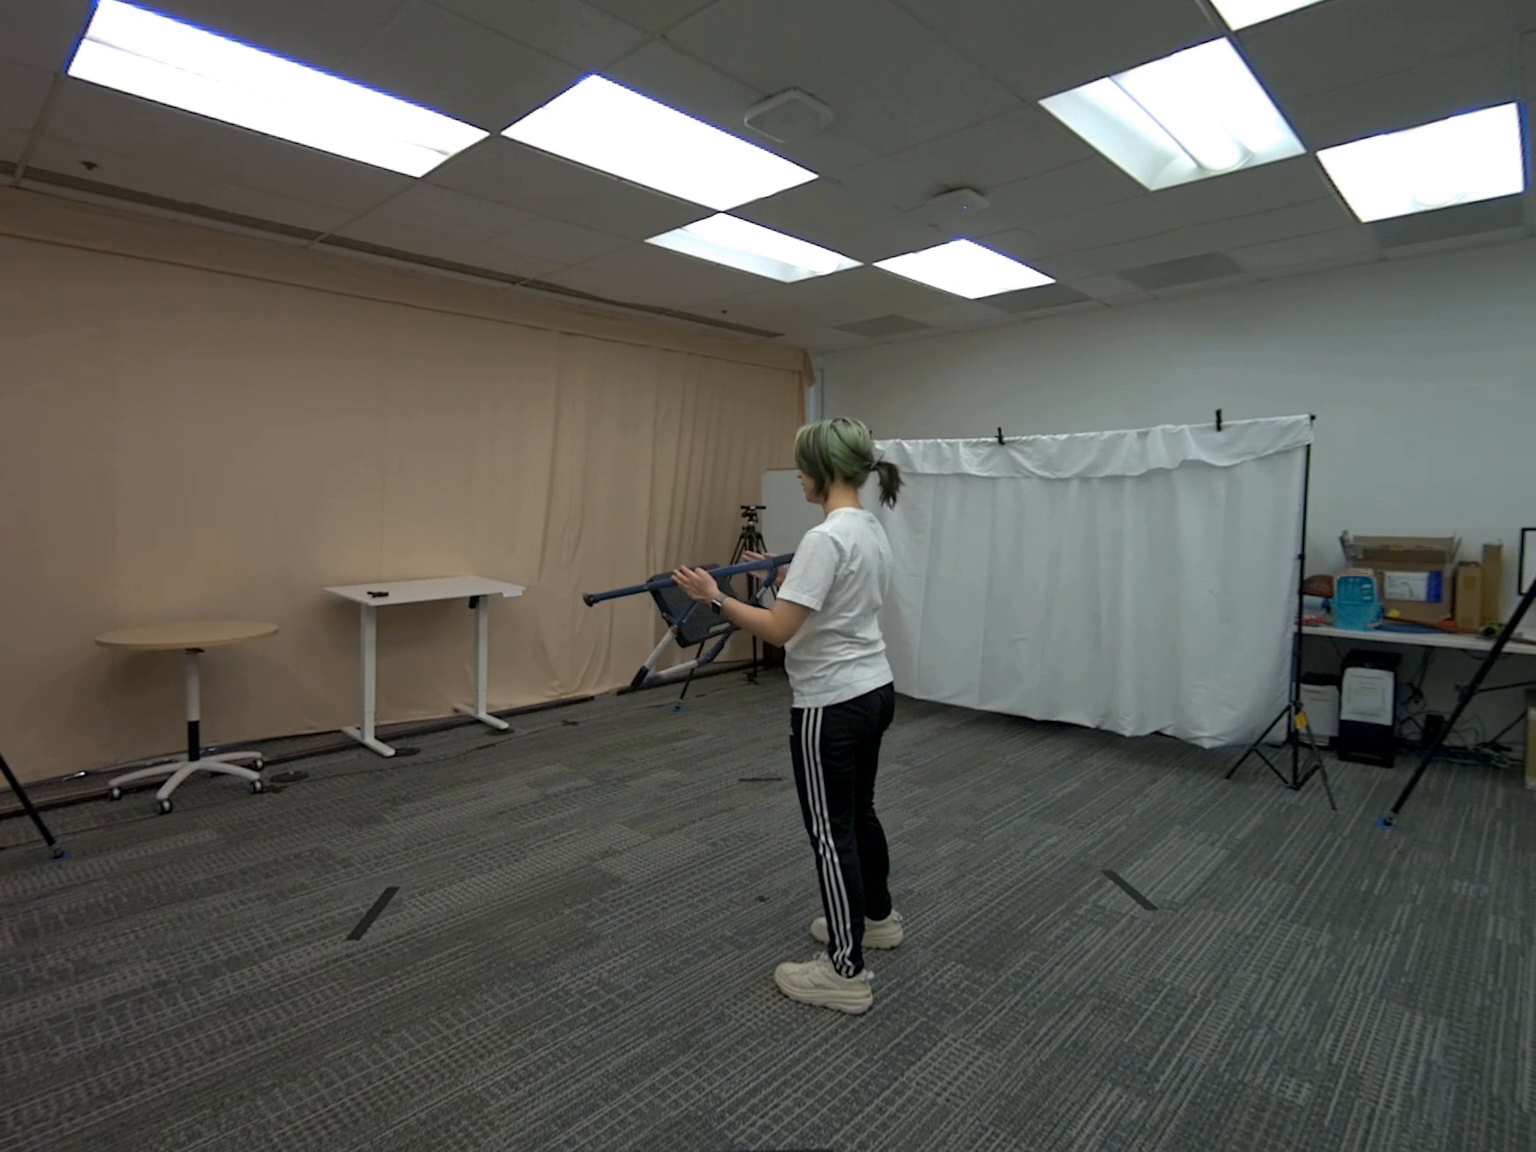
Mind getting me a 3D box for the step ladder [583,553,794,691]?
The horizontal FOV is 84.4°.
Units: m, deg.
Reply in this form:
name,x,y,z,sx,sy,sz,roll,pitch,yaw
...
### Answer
name,x,y,z,sx,sy,sz,roll,pitch,yaw
step ladder,-0.187,0.039,2.652,0.614,0.354,0.419,-36,-13,32
